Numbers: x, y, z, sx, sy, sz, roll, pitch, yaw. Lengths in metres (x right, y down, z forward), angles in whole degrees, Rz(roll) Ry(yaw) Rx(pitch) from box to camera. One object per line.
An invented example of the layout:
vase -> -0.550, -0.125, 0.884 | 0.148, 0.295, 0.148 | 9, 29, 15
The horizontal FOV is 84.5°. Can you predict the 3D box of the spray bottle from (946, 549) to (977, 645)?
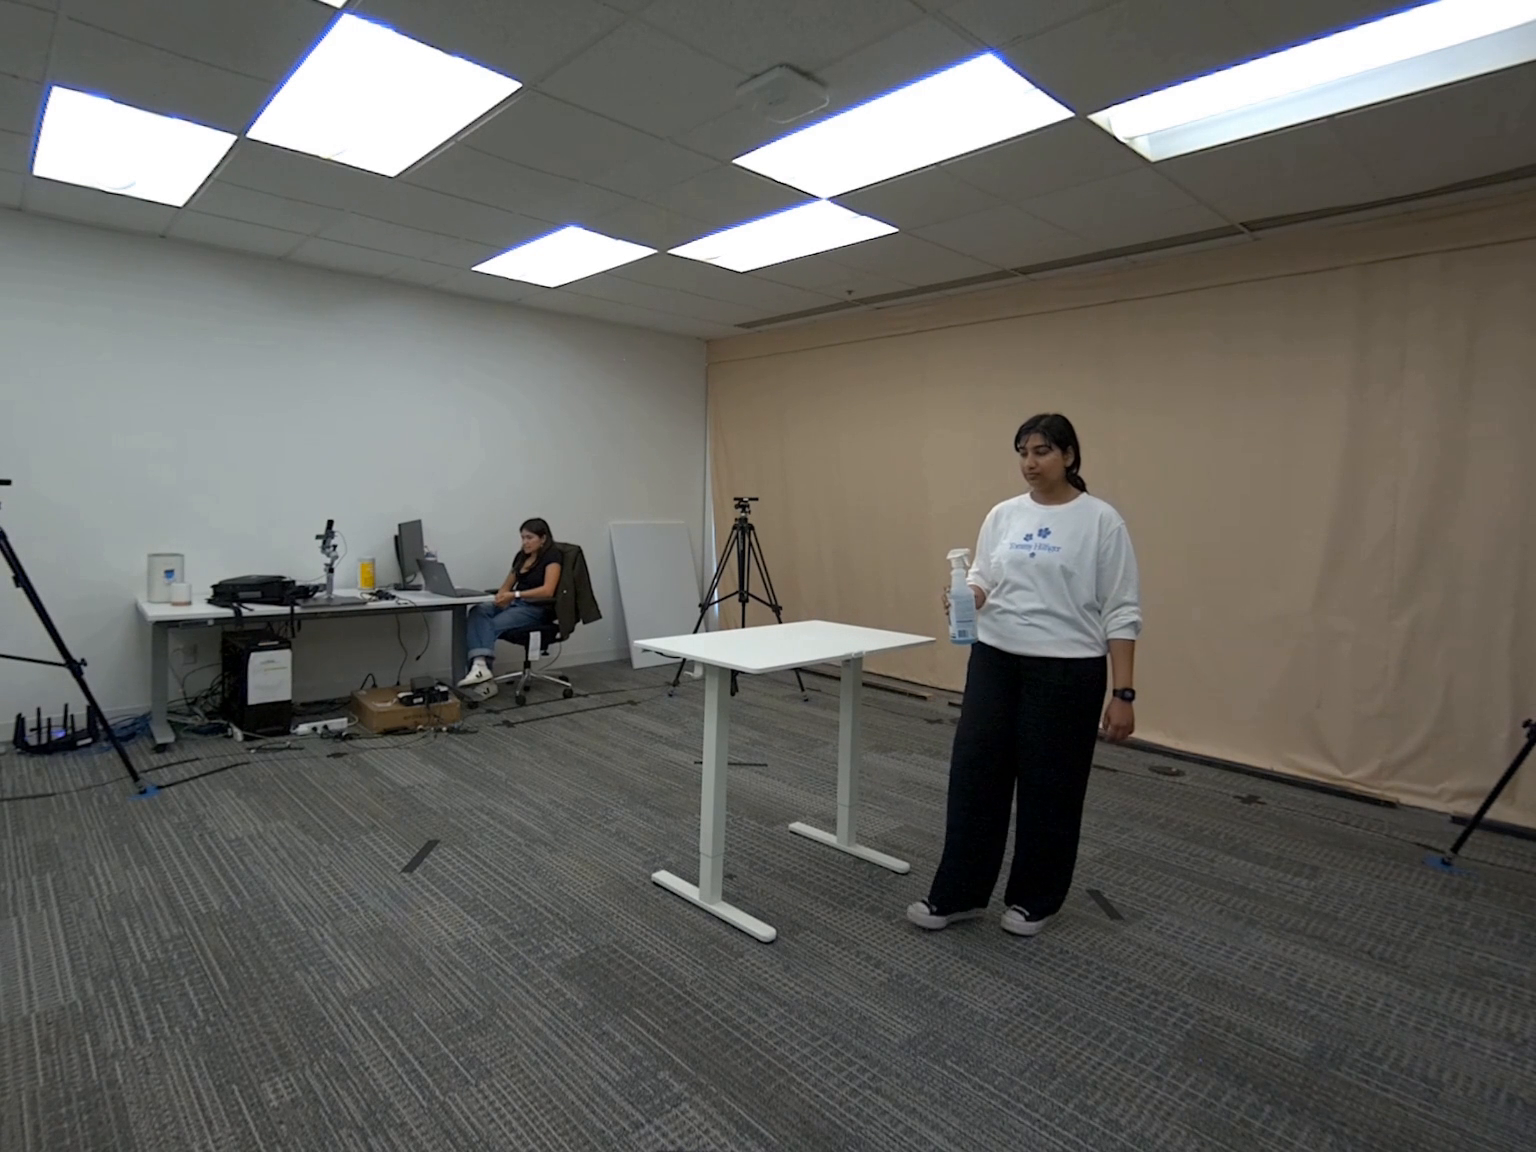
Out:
spray bottle -> 0.606, 0.066, 2.637 | 0.087, 0.297, 0.090 | -5, 2, -4
